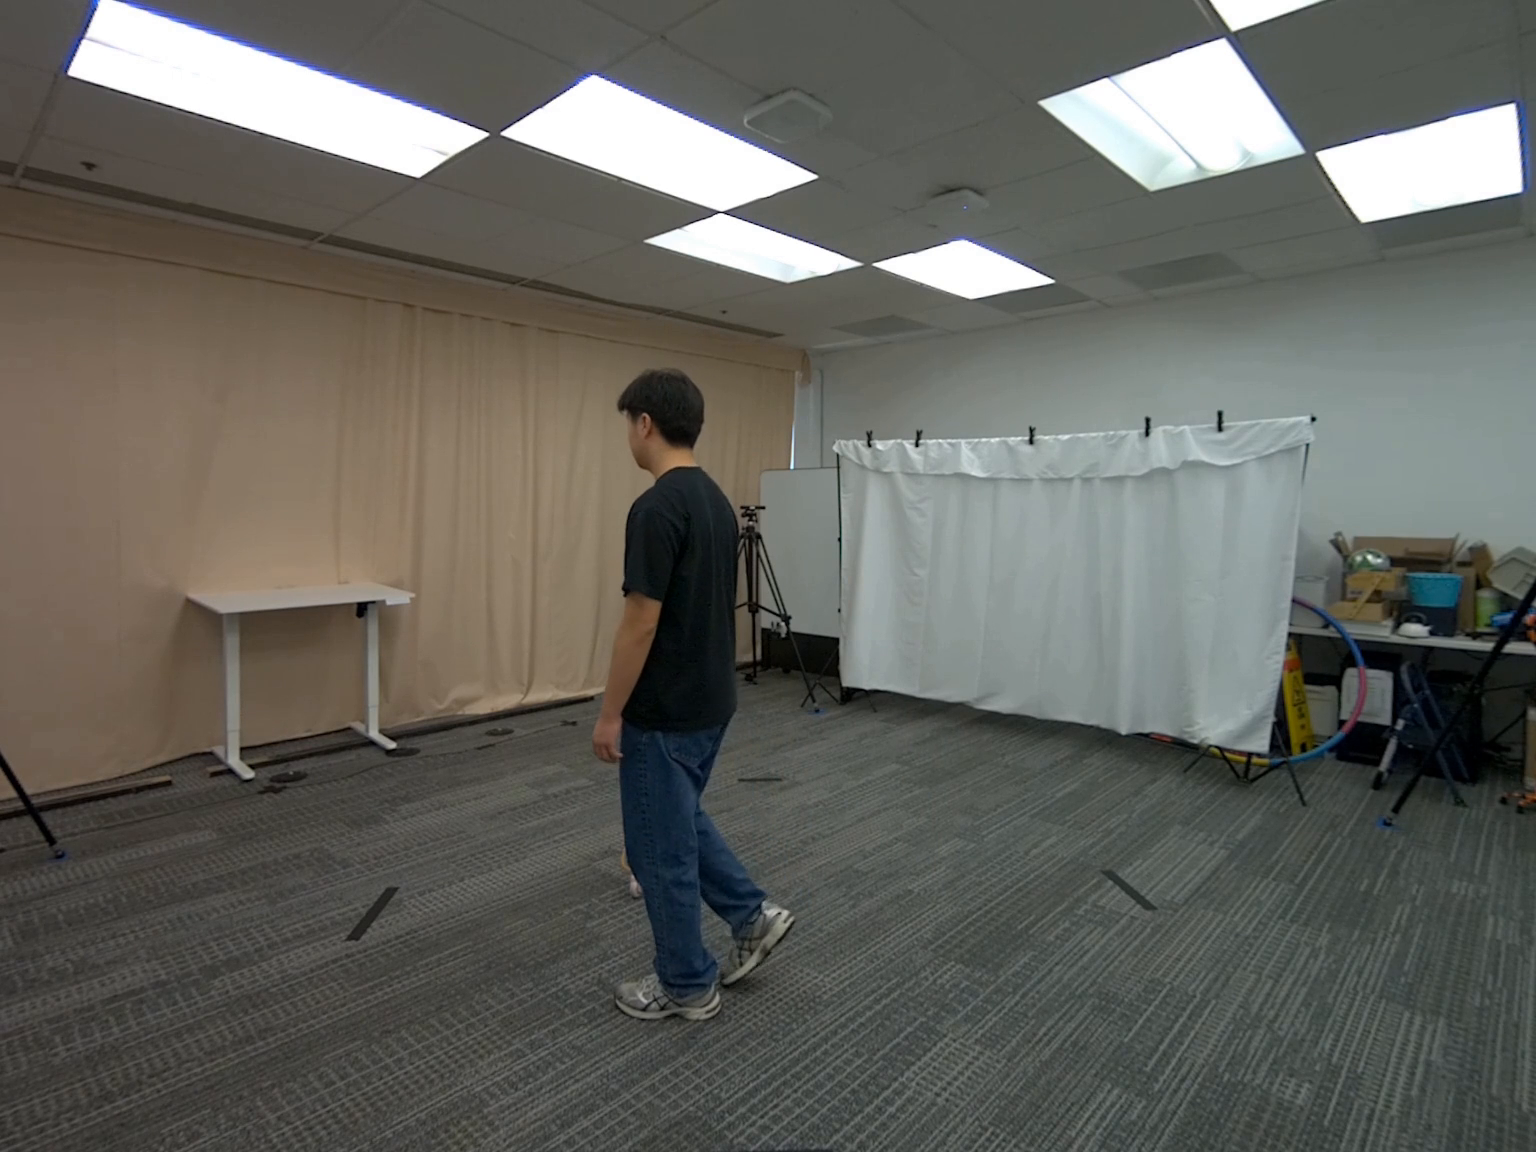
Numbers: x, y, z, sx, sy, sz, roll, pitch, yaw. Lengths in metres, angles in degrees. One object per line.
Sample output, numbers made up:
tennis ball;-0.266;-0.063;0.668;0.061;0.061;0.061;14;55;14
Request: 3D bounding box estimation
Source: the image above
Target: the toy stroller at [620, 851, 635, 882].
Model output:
toy stroller;-0.407;0.908;3.168;0.289;0.538;0.330;1;-13;26
